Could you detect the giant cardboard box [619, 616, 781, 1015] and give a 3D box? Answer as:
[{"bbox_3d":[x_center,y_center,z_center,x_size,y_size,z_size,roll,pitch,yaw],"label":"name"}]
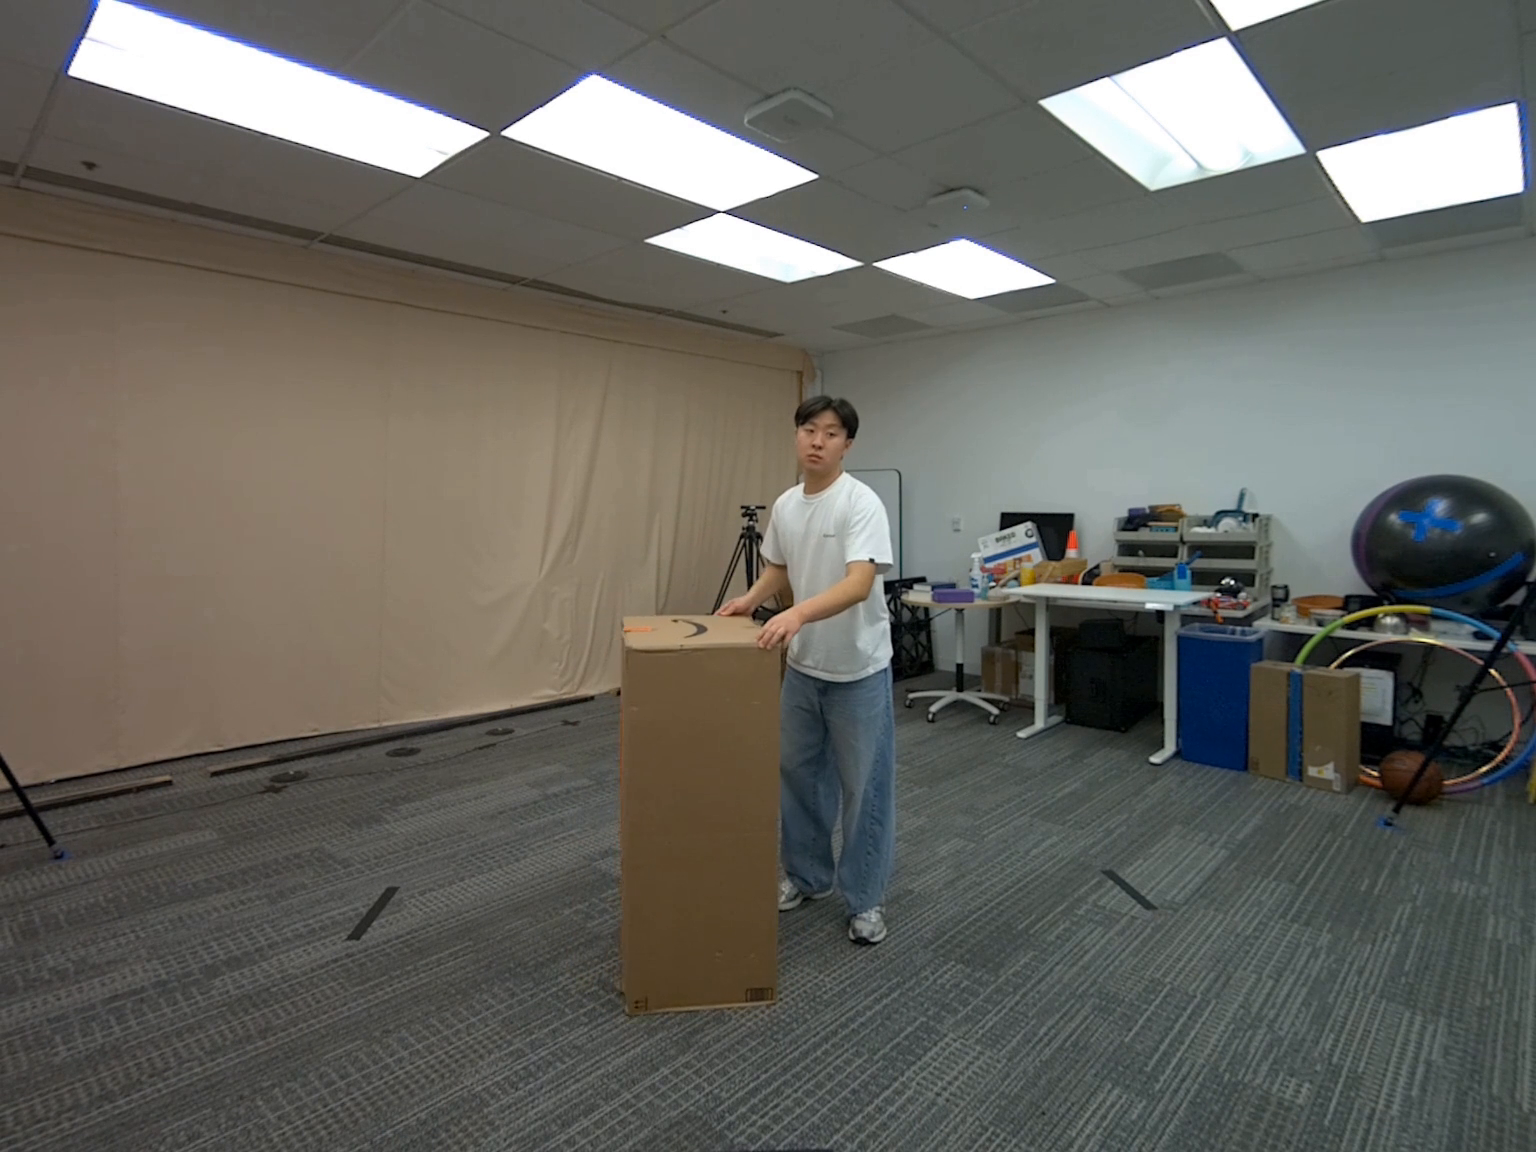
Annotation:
[{"bbox_3d":[-0.230,0.671,2.564,0.422,1.024,0.585,0,3,-11],"label":"giant cardboard box"}]
